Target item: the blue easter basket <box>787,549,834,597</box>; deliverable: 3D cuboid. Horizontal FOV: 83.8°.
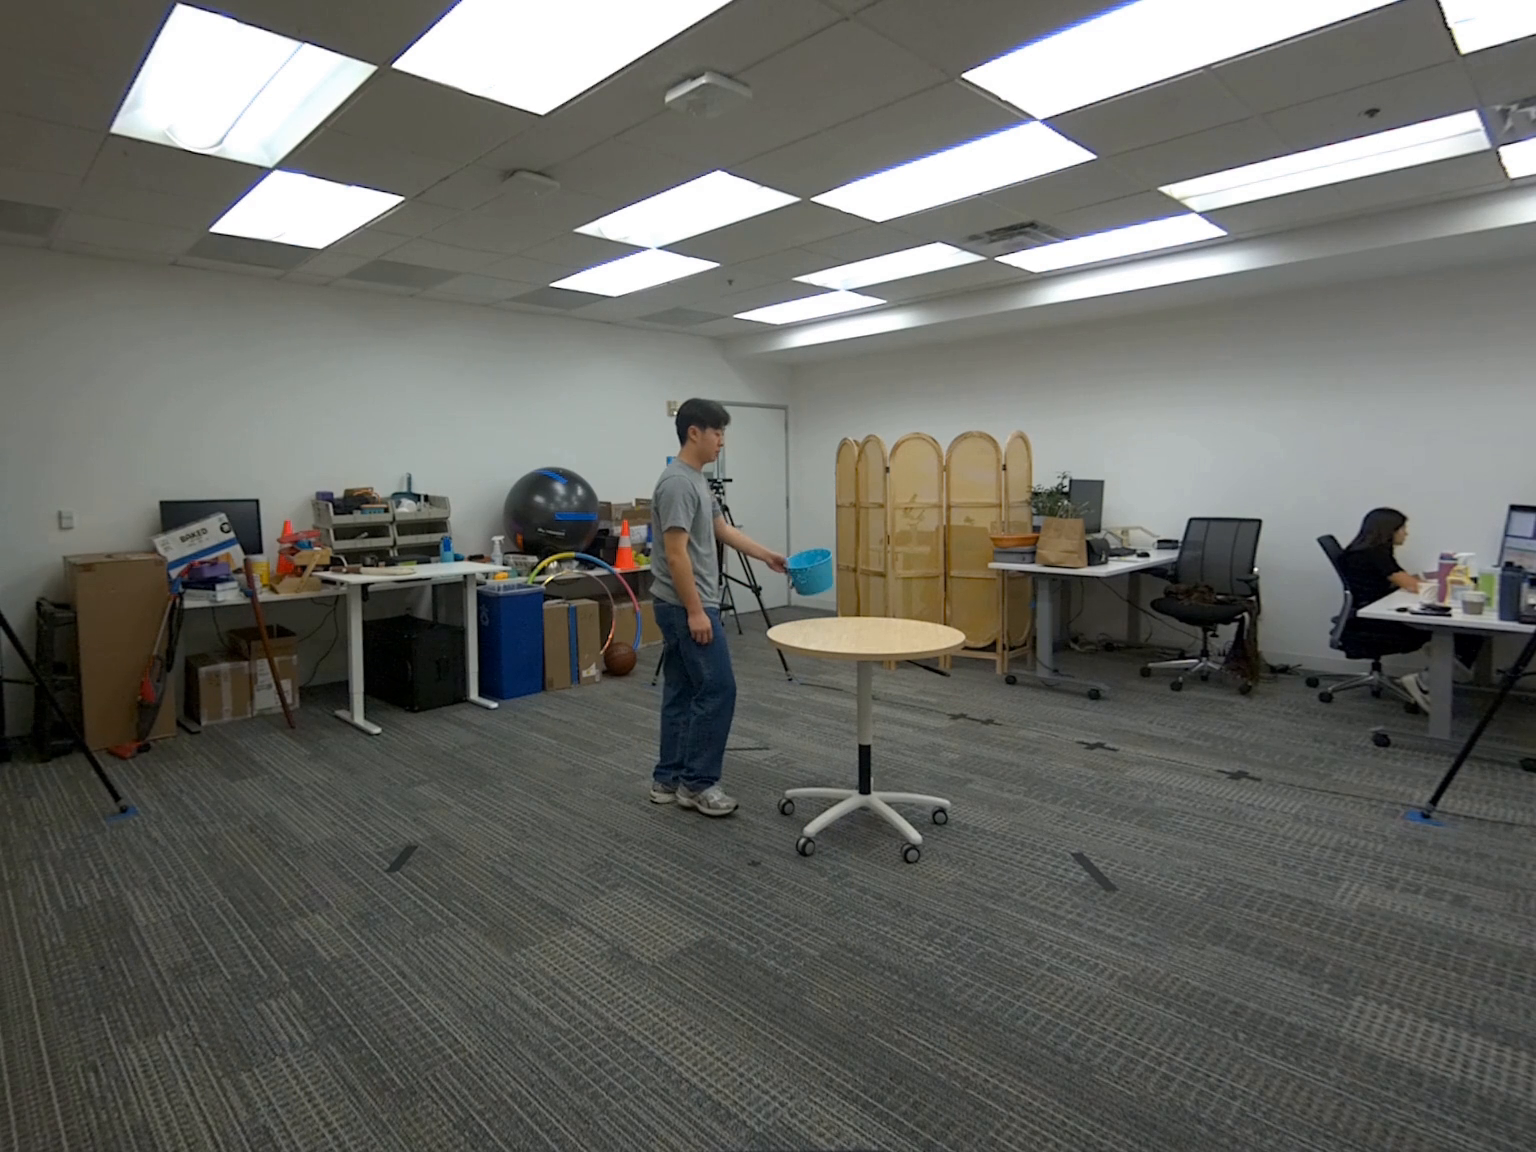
[{"bbox_3d":[0.186,-0.009,4.020,0.244,0.153,0.247,-13,16,2],"label":"blue easter basket"}]
